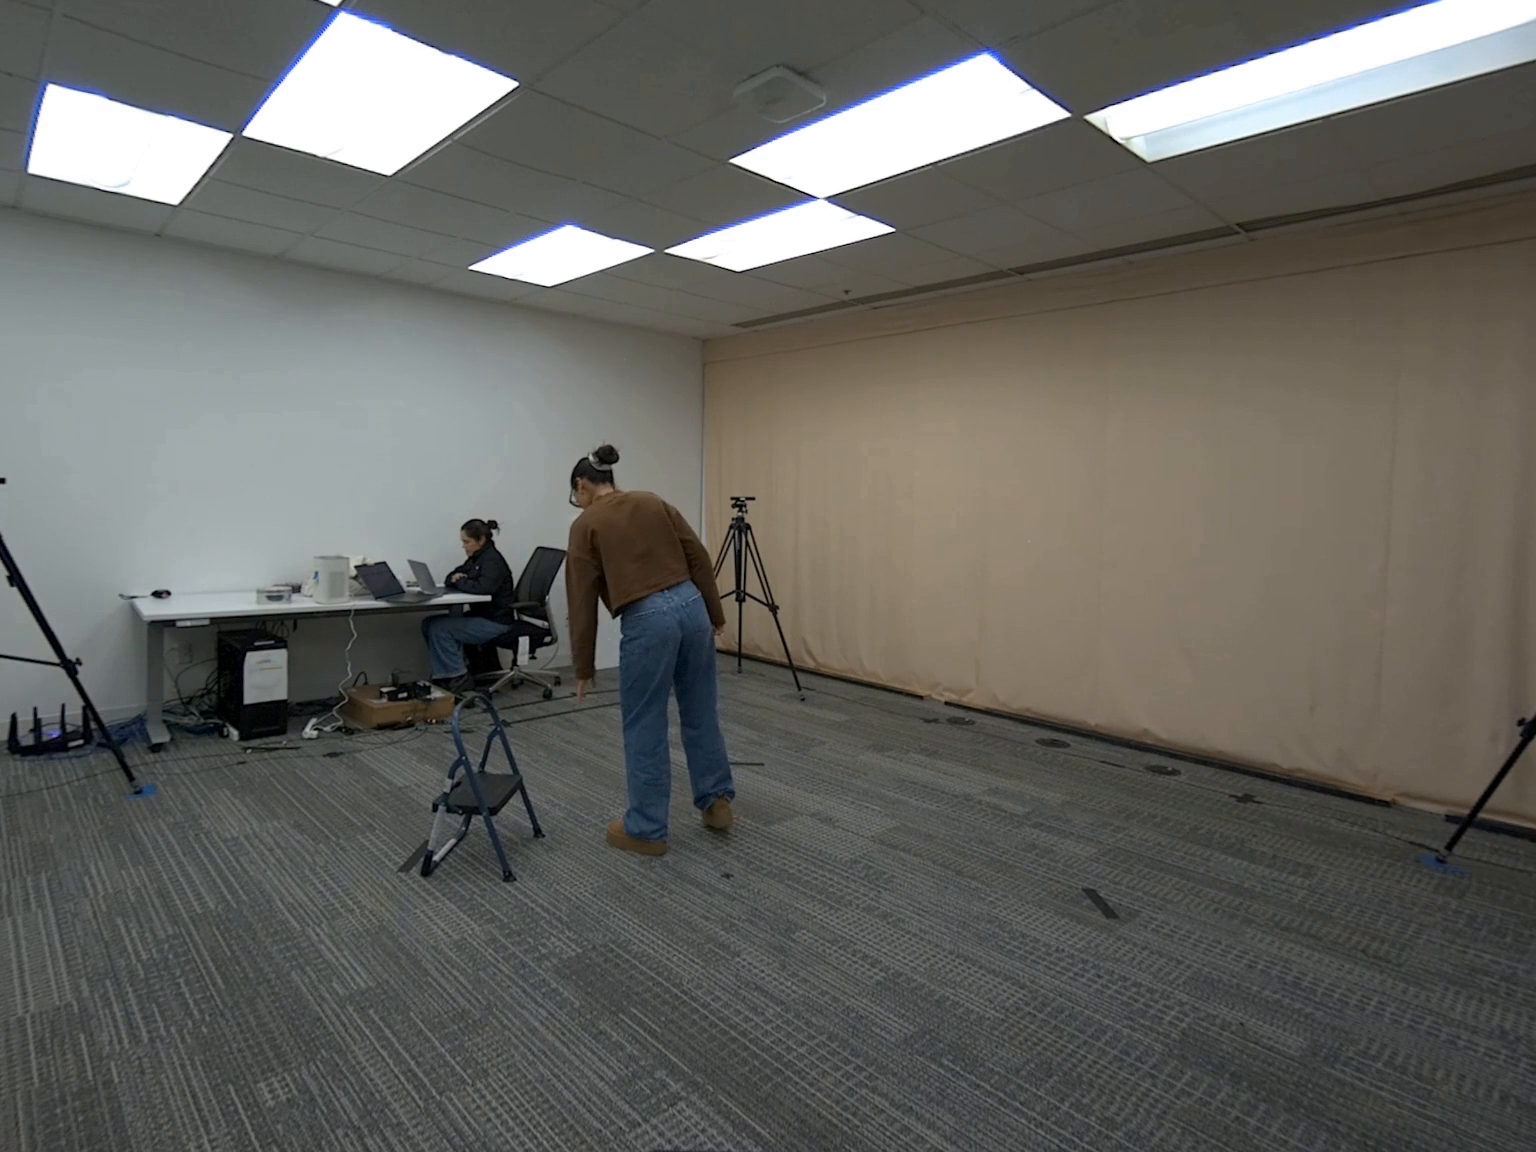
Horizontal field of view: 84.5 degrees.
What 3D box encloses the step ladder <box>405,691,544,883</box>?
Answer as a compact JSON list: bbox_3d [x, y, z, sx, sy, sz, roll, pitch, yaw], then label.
[{"bbox_3d":[-1.086,0.775,3.217,0.349,0.605,0.431,2,3,0],"label":"step ladder"}]
